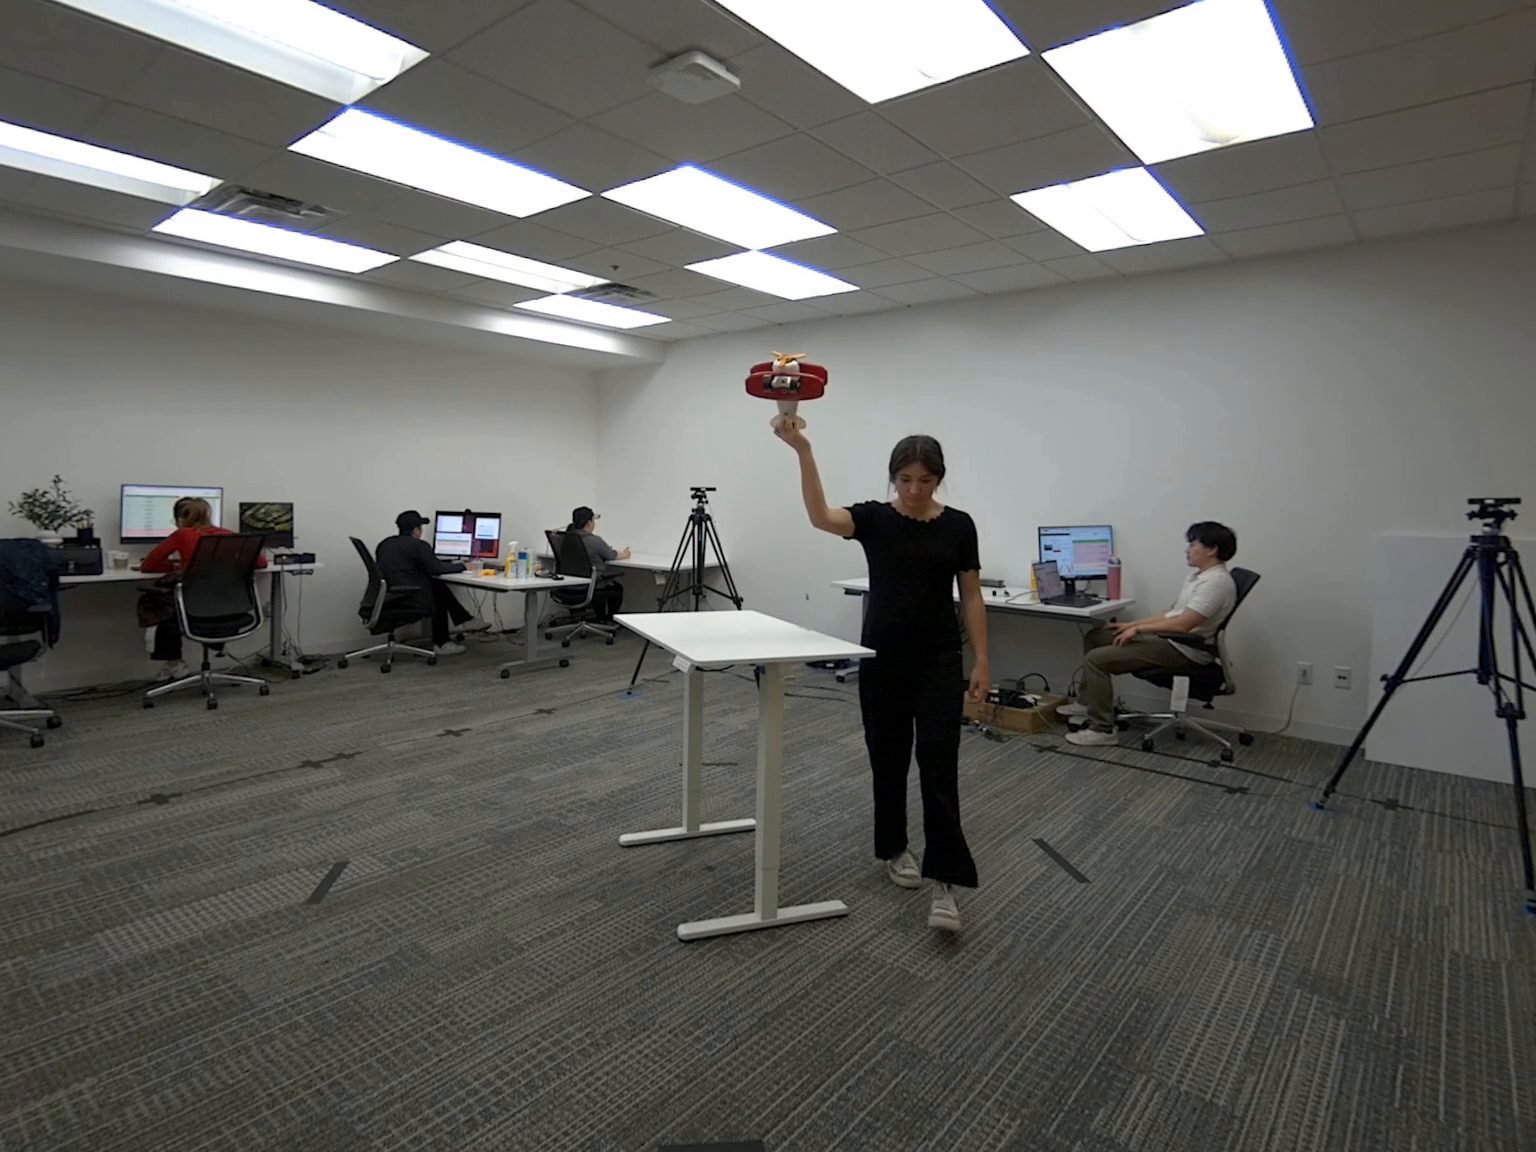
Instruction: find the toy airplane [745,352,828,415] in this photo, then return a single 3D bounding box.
[{"bbox_3d":[0.032,-0.595,2.751,0.248,0.159,0.258,23,-37,-10],"label":"toy airplane"}]
